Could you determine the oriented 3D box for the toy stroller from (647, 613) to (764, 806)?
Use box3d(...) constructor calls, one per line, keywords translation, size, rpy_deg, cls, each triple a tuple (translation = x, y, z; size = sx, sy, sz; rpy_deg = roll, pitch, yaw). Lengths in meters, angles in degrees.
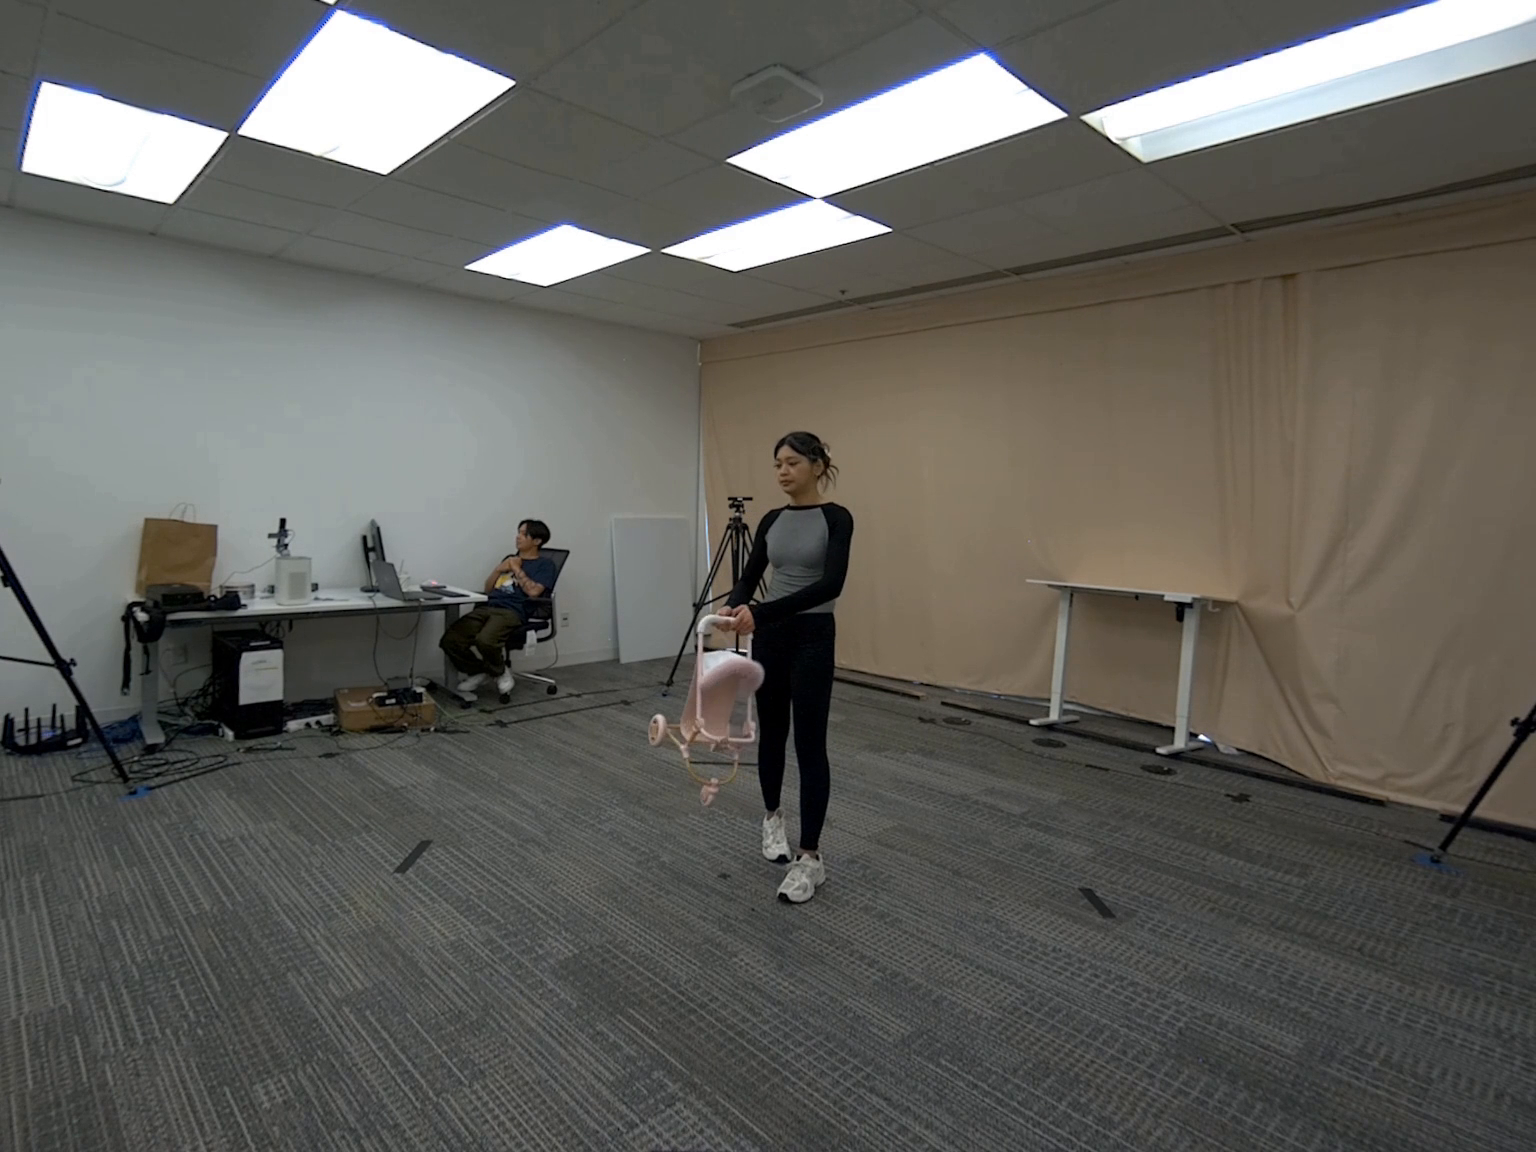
box3d(translation=(-0.177, 0.450, 2.757), size=(0.275, 0.531, 0.351), rpy_deg=(13, 18, -27), cls="toy stroller")
